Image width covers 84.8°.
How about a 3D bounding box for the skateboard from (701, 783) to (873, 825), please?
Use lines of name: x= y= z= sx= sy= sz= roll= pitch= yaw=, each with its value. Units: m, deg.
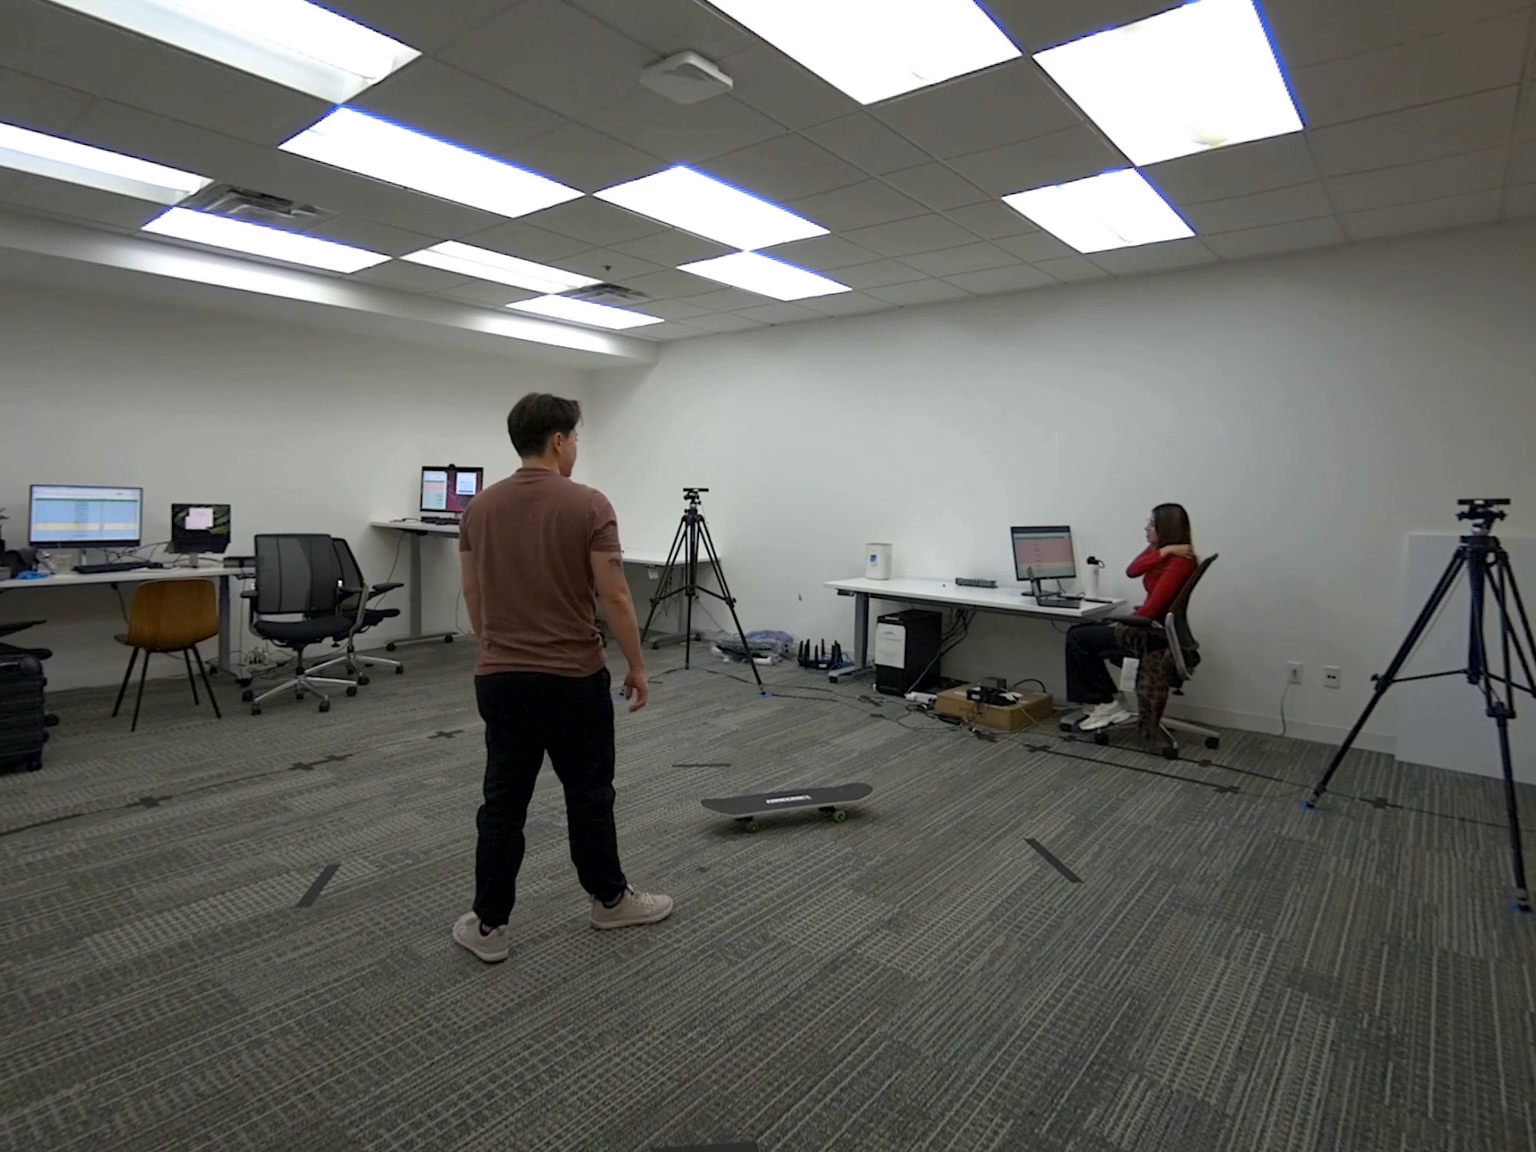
skateboard: x=0.082 y=0.975 z=3.596 sx=0.770 sy=0.110 sz=0.198 roll=-1 pitch=5 yaw=-20
